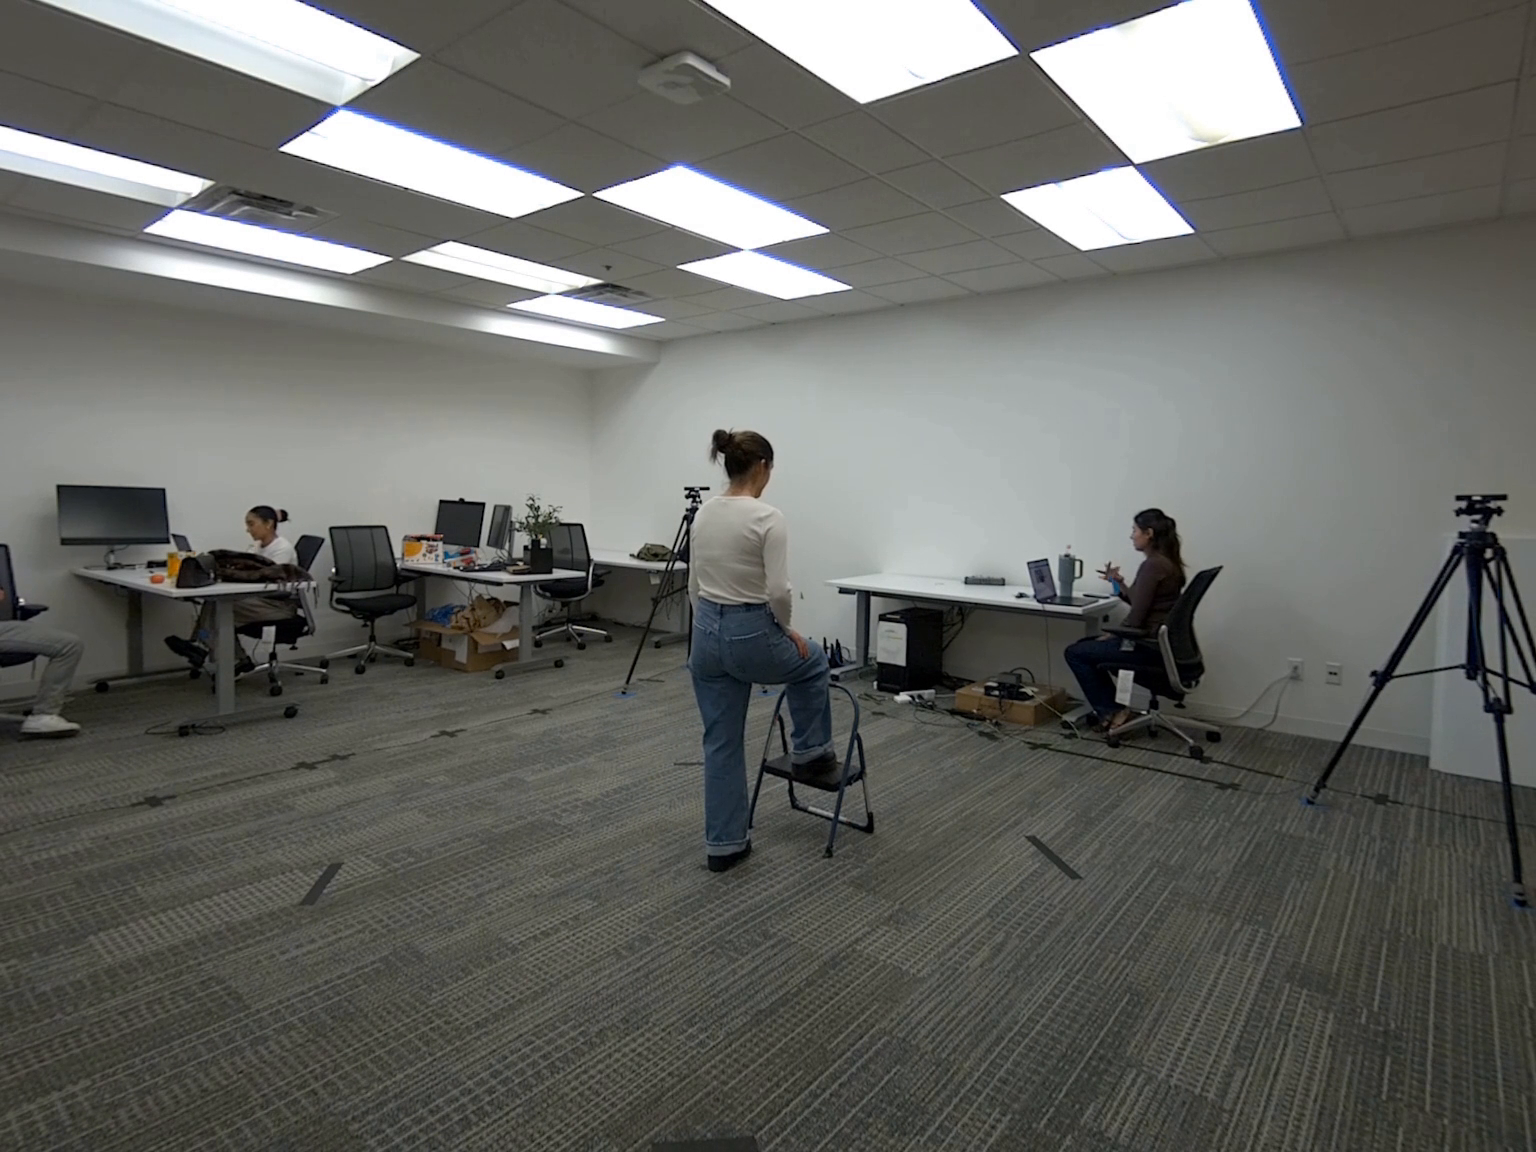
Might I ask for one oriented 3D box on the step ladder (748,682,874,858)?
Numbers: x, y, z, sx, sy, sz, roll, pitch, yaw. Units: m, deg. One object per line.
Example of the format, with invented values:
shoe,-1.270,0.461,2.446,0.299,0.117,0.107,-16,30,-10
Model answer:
step ladder,0.168,0.735,3.465,0.445,0.604,0.339,4,5,39
